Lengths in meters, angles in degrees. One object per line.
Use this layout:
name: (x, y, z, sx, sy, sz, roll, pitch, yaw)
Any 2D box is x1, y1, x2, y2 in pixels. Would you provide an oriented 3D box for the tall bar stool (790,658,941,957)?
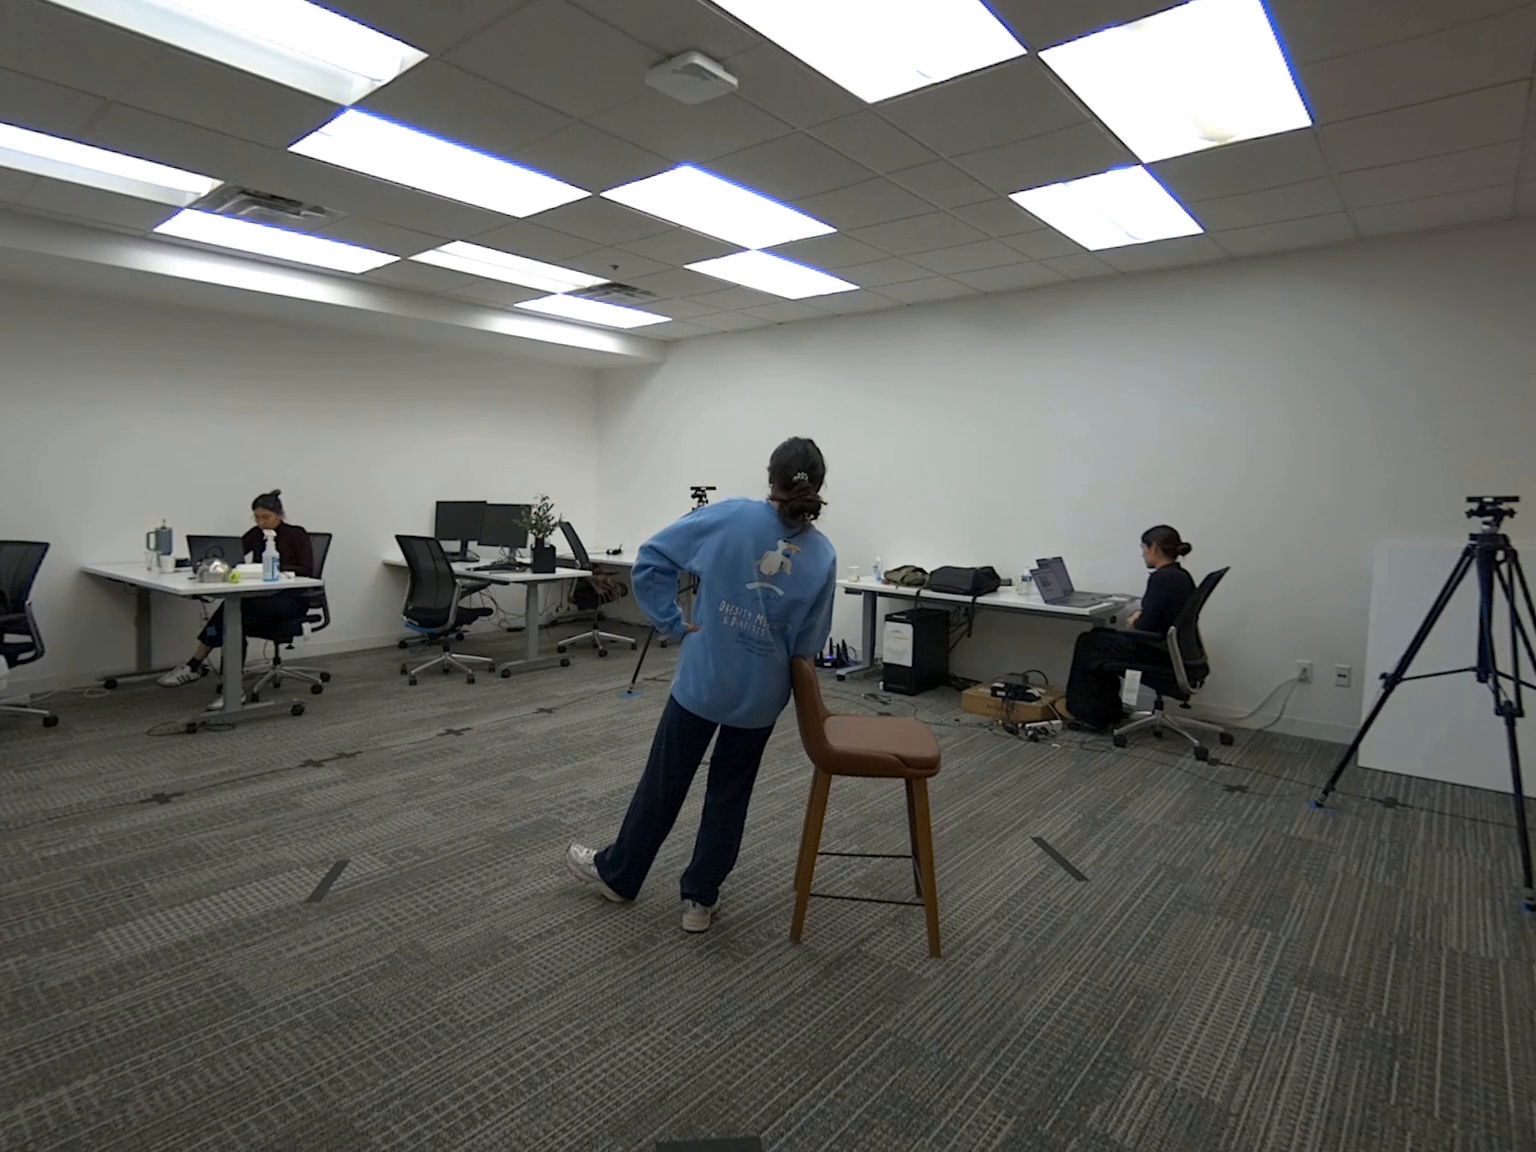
tall bar stool: (0.302, 0.676, 2.745, 0.471, 0.888, 0.454, 0, 3, 6)
